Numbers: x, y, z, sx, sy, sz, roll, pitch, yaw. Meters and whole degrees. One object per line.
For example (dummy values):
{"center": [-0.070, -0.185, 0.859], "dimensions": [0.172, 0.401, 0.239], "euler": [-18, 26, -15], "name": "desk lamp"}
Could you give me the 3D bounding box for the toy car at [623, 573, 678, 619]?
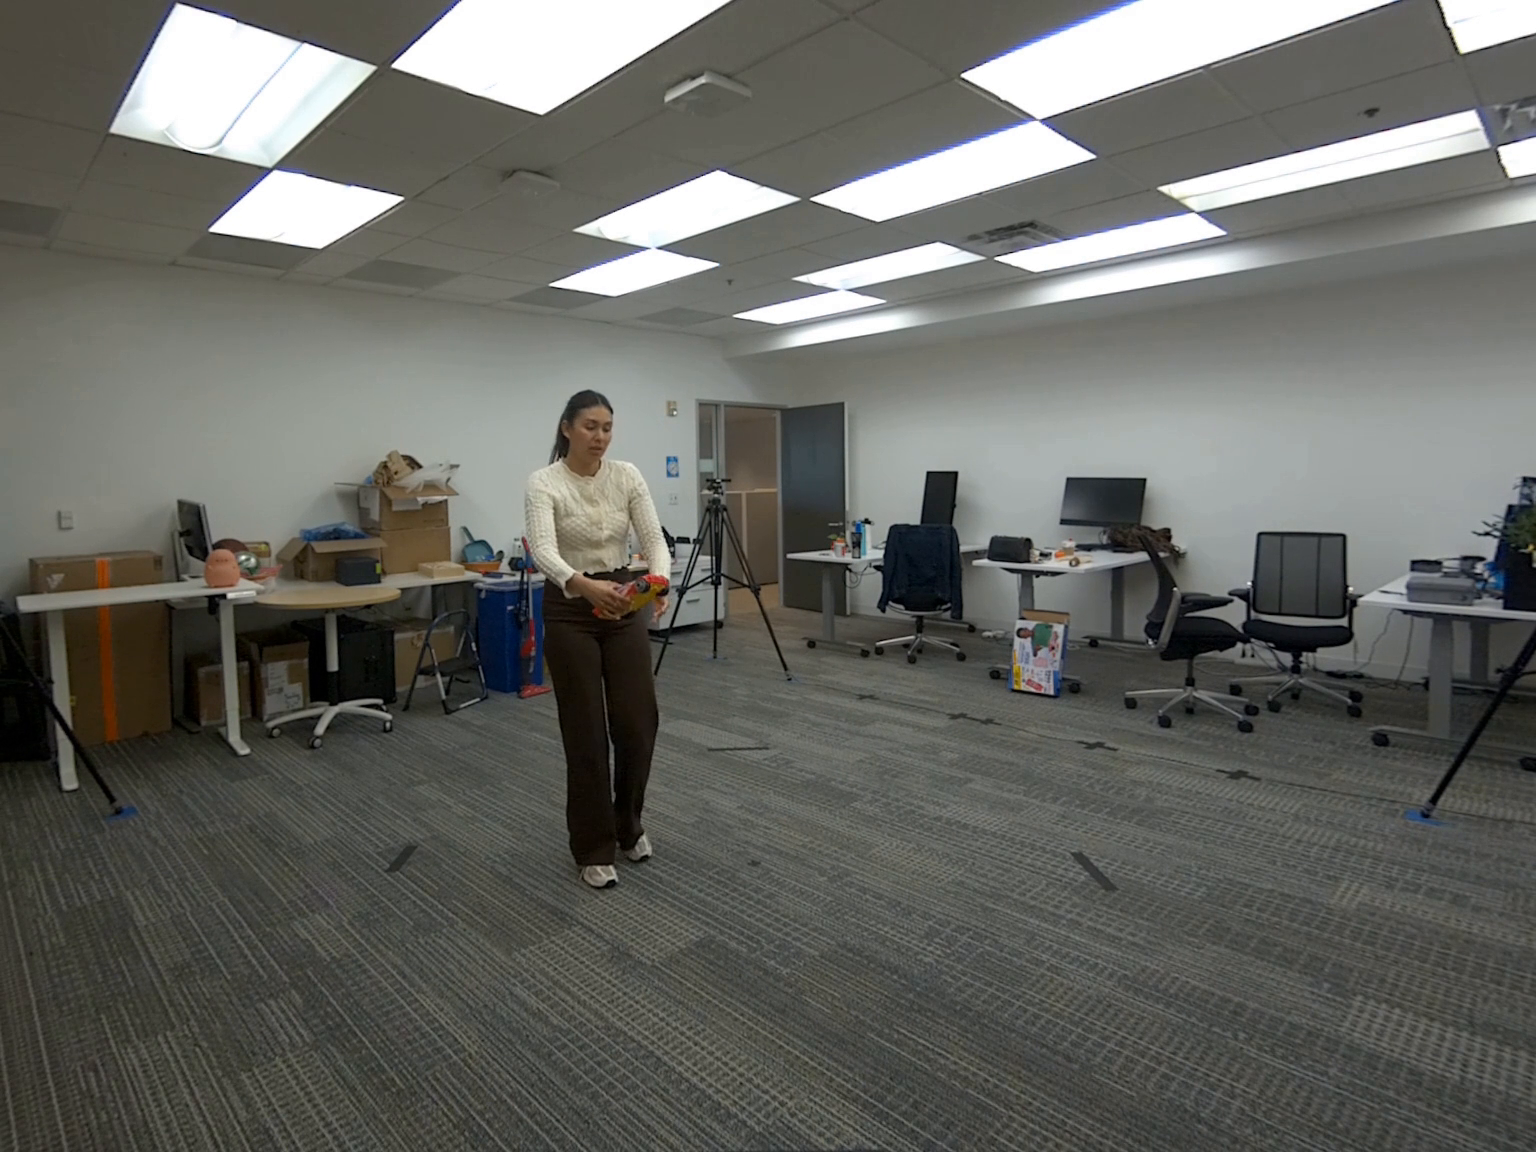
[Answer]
{"center": [-0.419, 0.078, 2.588], "dimensions": [0.258, 0.085, 0.126], "euler": [-20, -19, 30], "name": "toy car"}
